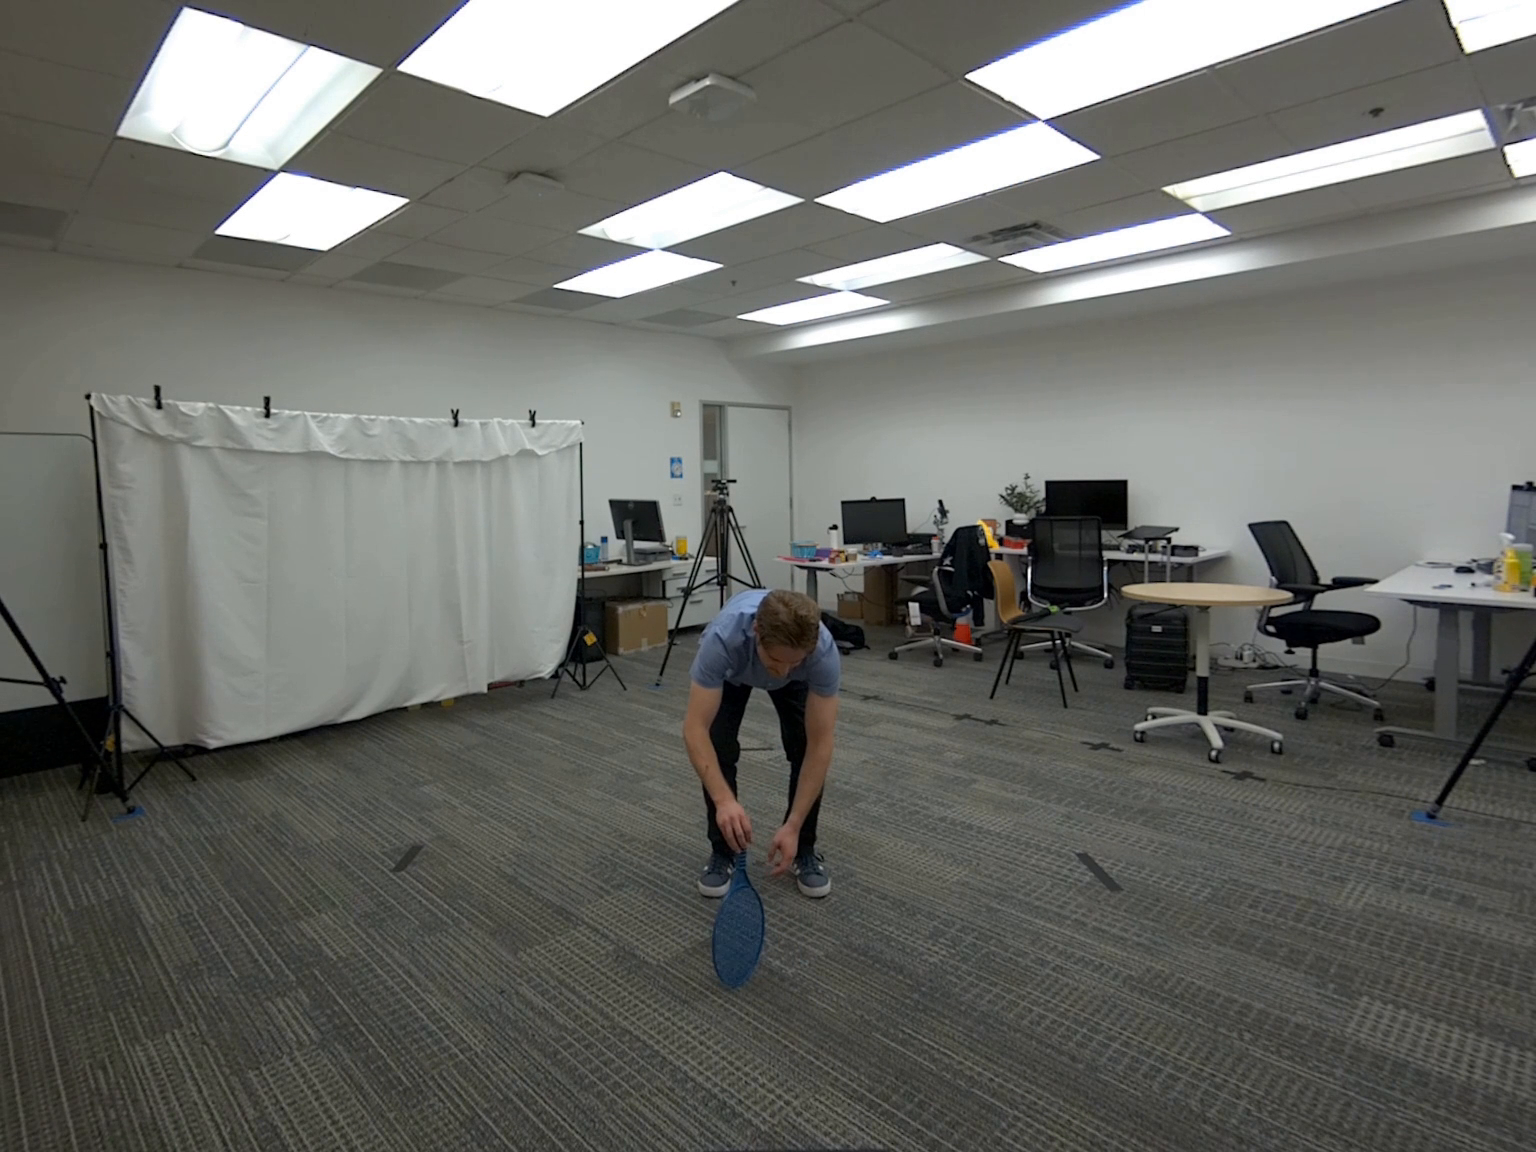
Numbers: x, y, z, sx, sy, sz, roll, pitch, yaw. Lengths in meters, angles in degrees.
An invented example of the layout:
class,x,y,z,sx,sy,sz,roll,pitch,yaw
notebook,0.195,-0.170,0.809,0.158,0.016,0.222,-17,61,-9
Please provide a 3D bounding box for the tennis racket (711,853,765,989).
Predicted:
class,x,y,z,sx,sy,sz,roll,pitch,yaw
tennis racket,-0.072,0.915,2.399,0.032,0.434,0.207,-2,-3,39
